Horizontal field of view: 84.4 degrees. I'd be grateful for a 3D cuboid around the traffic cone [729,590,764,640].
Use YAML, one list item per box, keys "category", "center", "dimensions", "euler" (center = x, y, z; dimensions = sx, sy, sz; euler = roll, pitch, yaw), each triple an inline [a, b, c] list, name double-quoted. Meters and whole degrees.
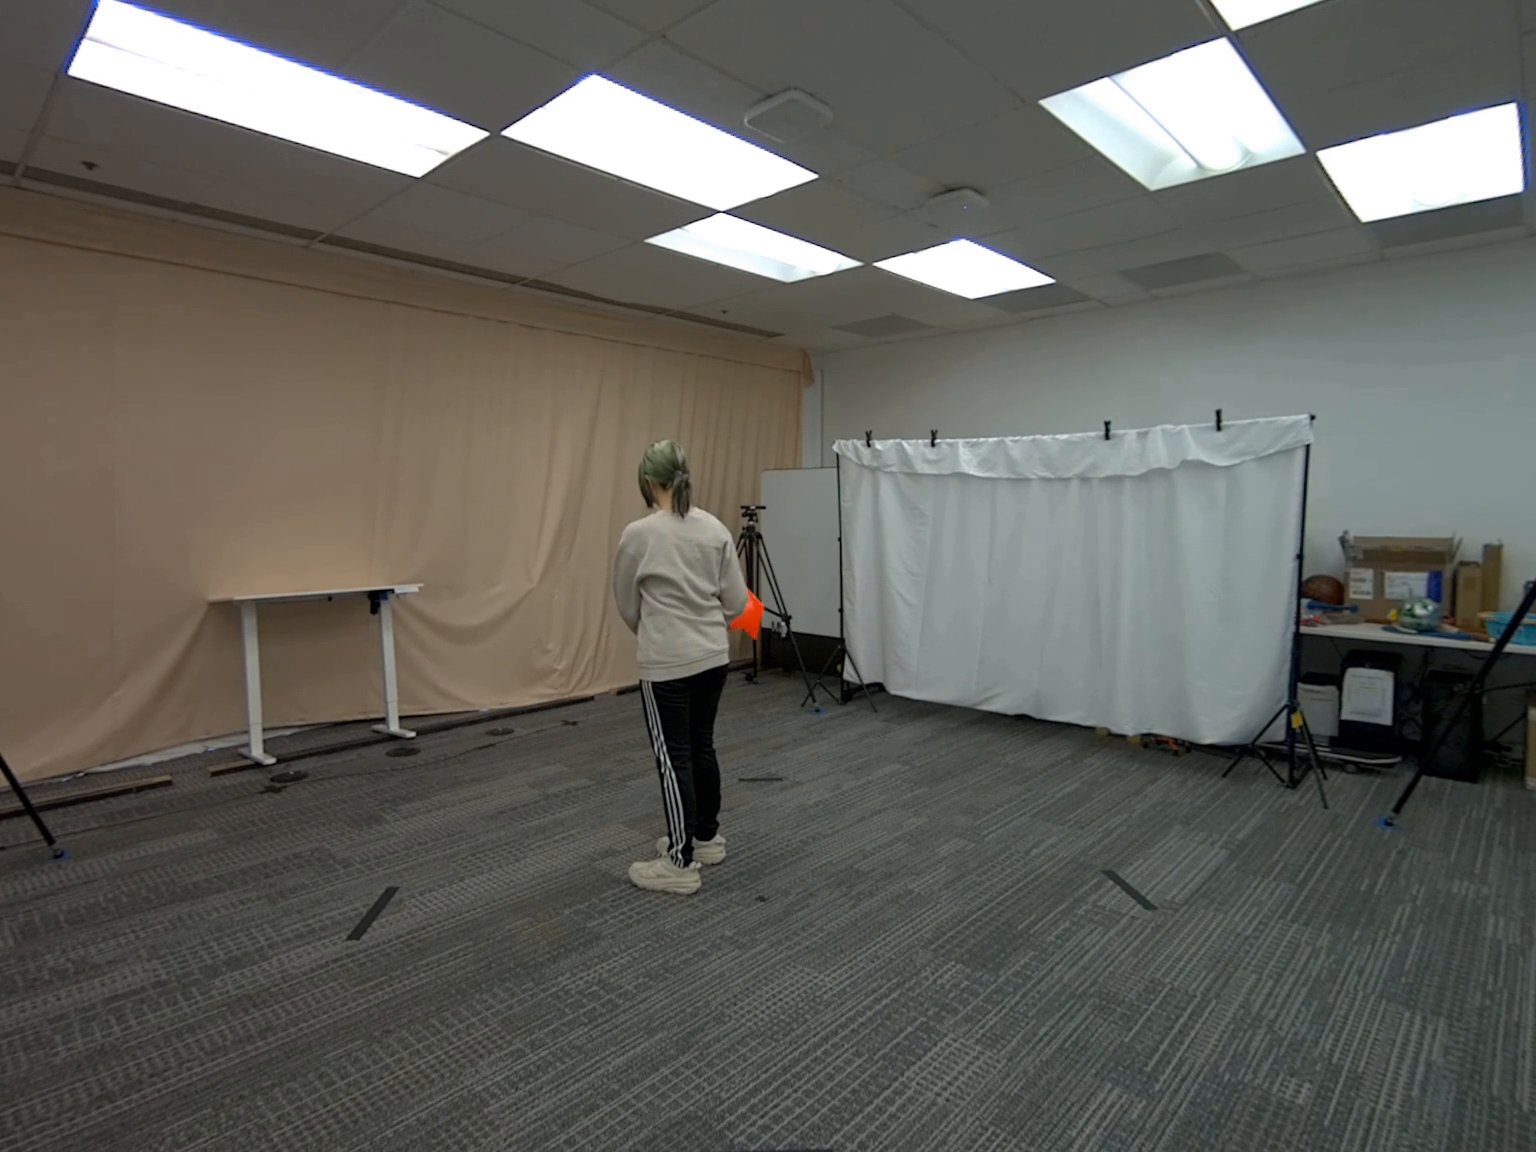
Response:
- category: "traffic cone"
  center: [-0.243, 0.192, 3.591]
  dimensions: [0.375, 0.202, 0.210]
  euler: [-16, 44, -28]
